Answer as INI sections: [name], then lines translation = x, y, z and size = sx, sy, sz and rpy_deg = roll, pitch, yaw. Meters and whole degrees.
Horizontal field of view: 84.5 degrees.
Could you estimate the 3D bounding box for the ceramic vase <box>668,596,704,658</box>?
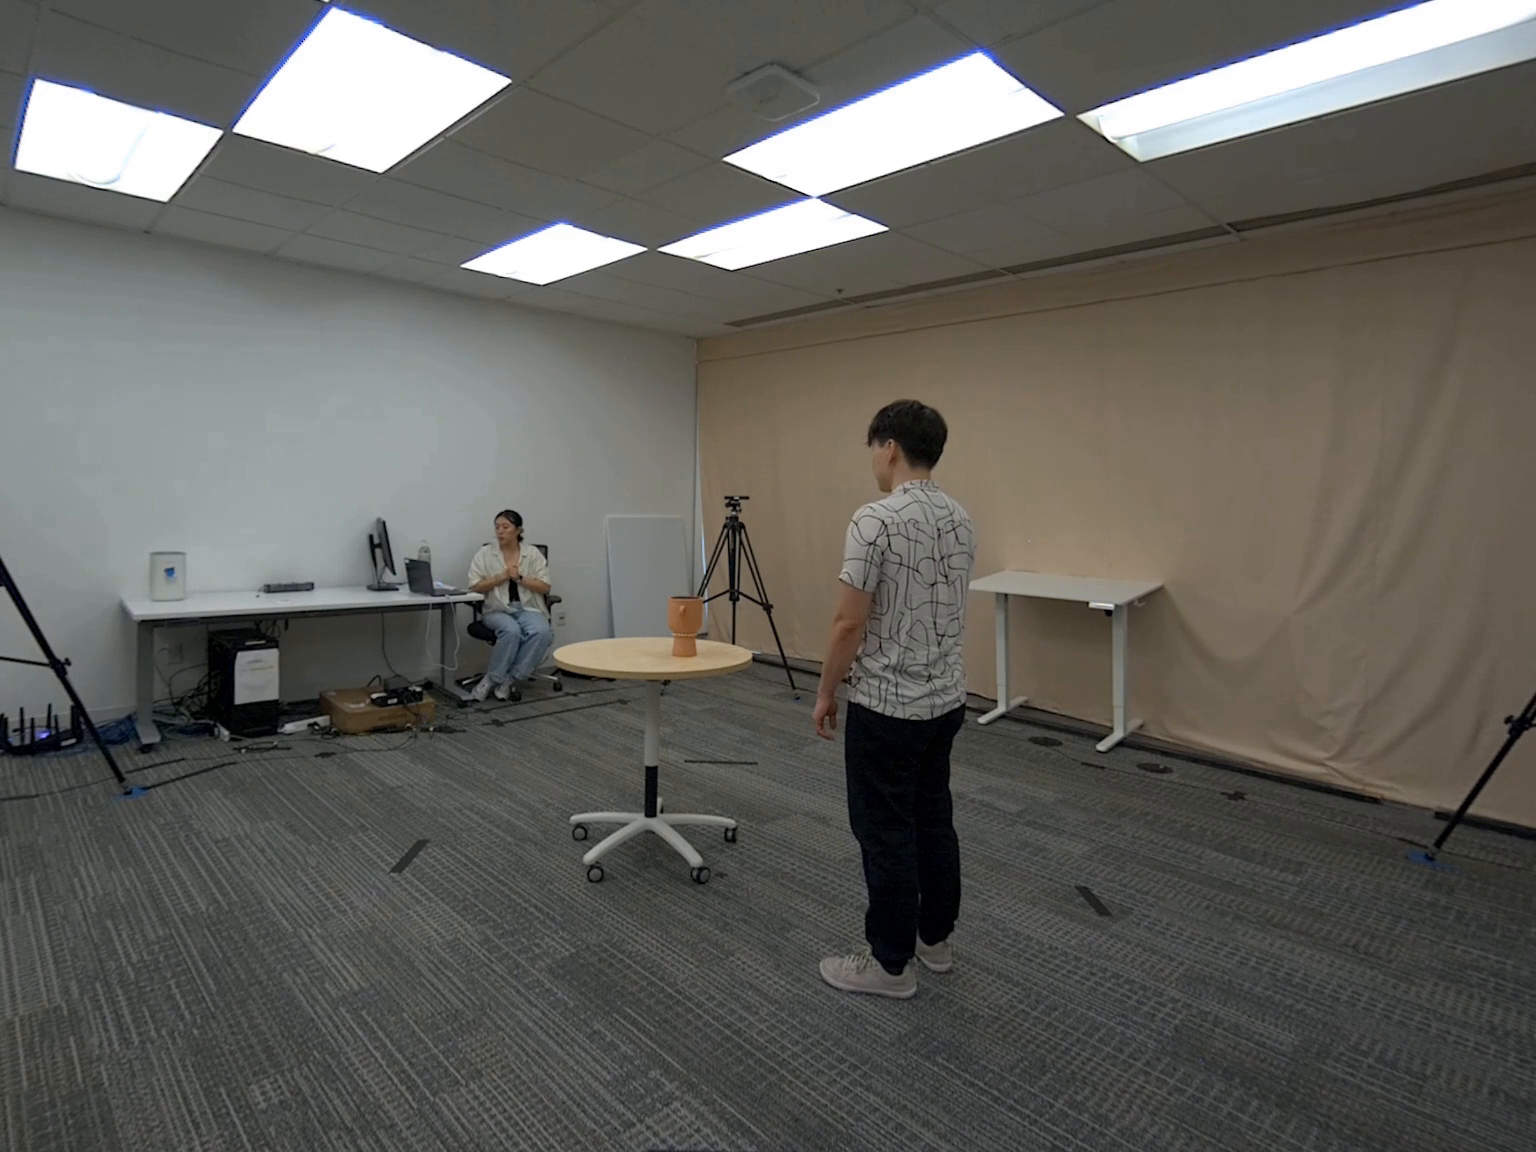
[ceramic vase]
translation = -0.326, 0.195, 3.228
size = 0.138, 0.219, 0.155
rpy_deg = 4, 5, 45
